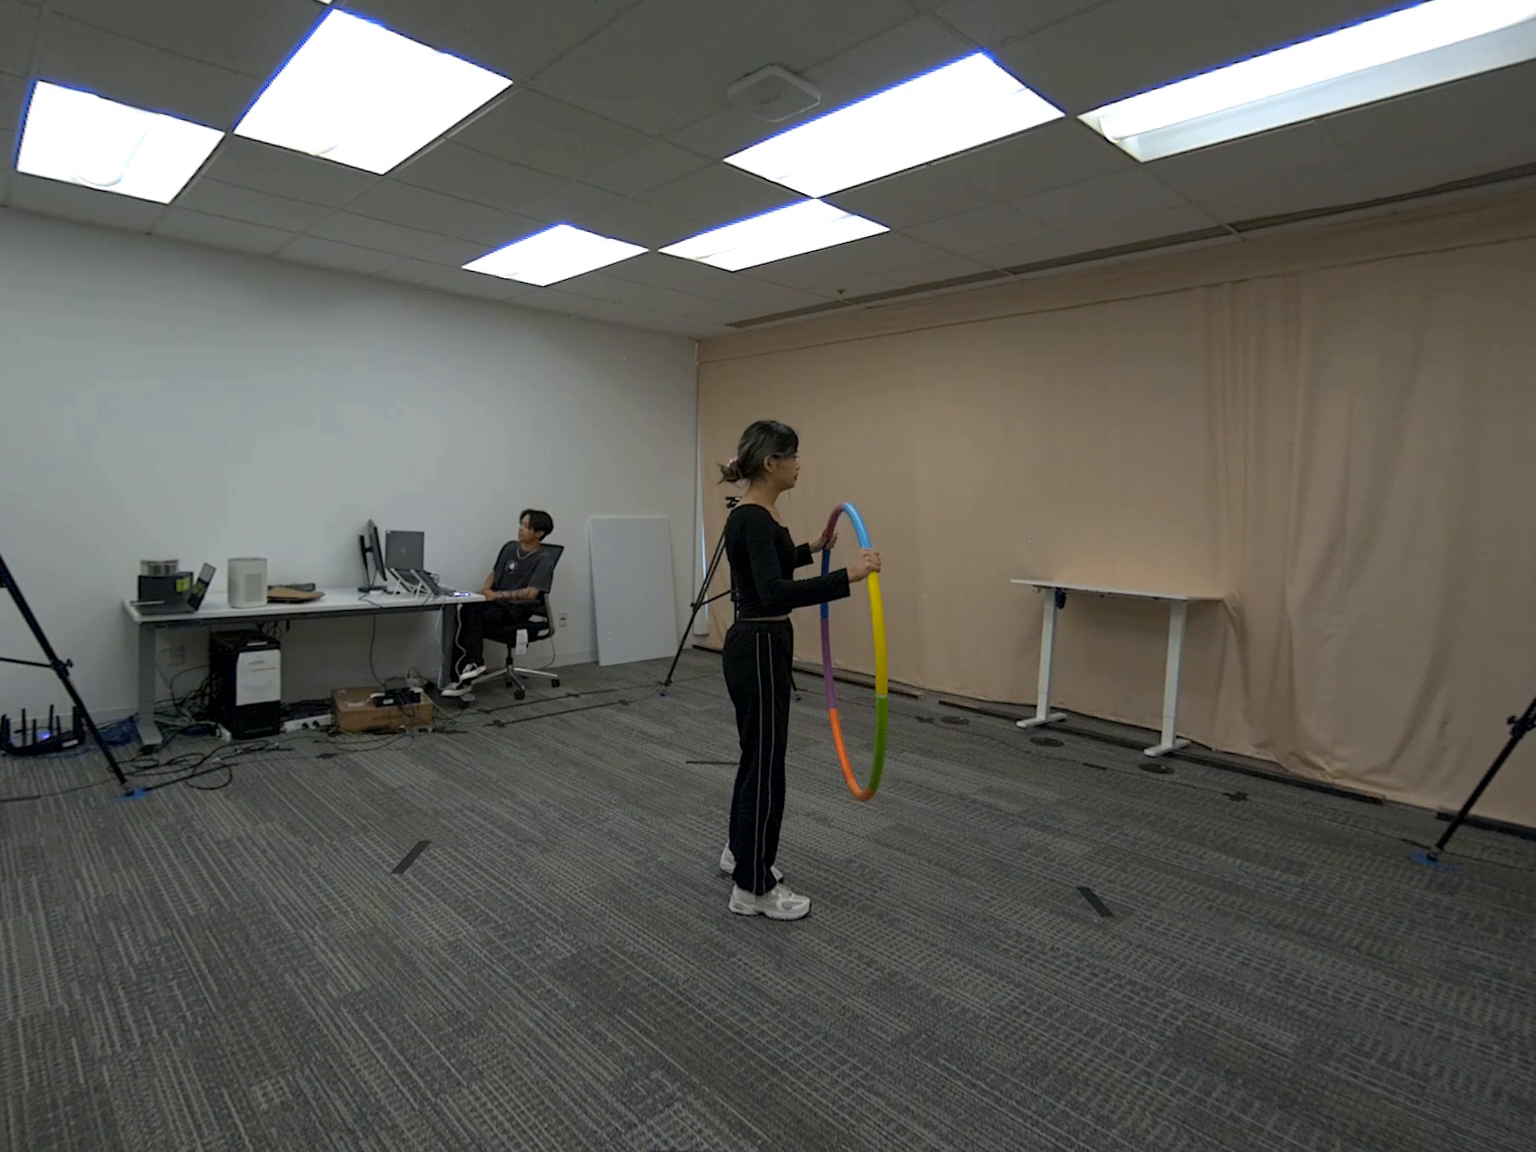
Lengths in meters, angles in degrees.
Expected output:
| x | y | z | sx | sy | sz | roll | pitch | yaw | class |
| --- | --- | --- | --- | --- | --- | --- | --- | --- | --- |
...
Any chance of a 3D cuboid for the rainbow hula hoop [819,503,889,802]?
| x | y | z | sx | sy | sz | roll | pitch | yaw | class |
| --- | --- | --- | --- | --- | --- | --- | --- | --- | --- |
| 0.267 | 0.251 | 2.852 | 0.035 | 0.975 | 0.985 | -4 | 5 | -6 | rainbow hula hoop |
